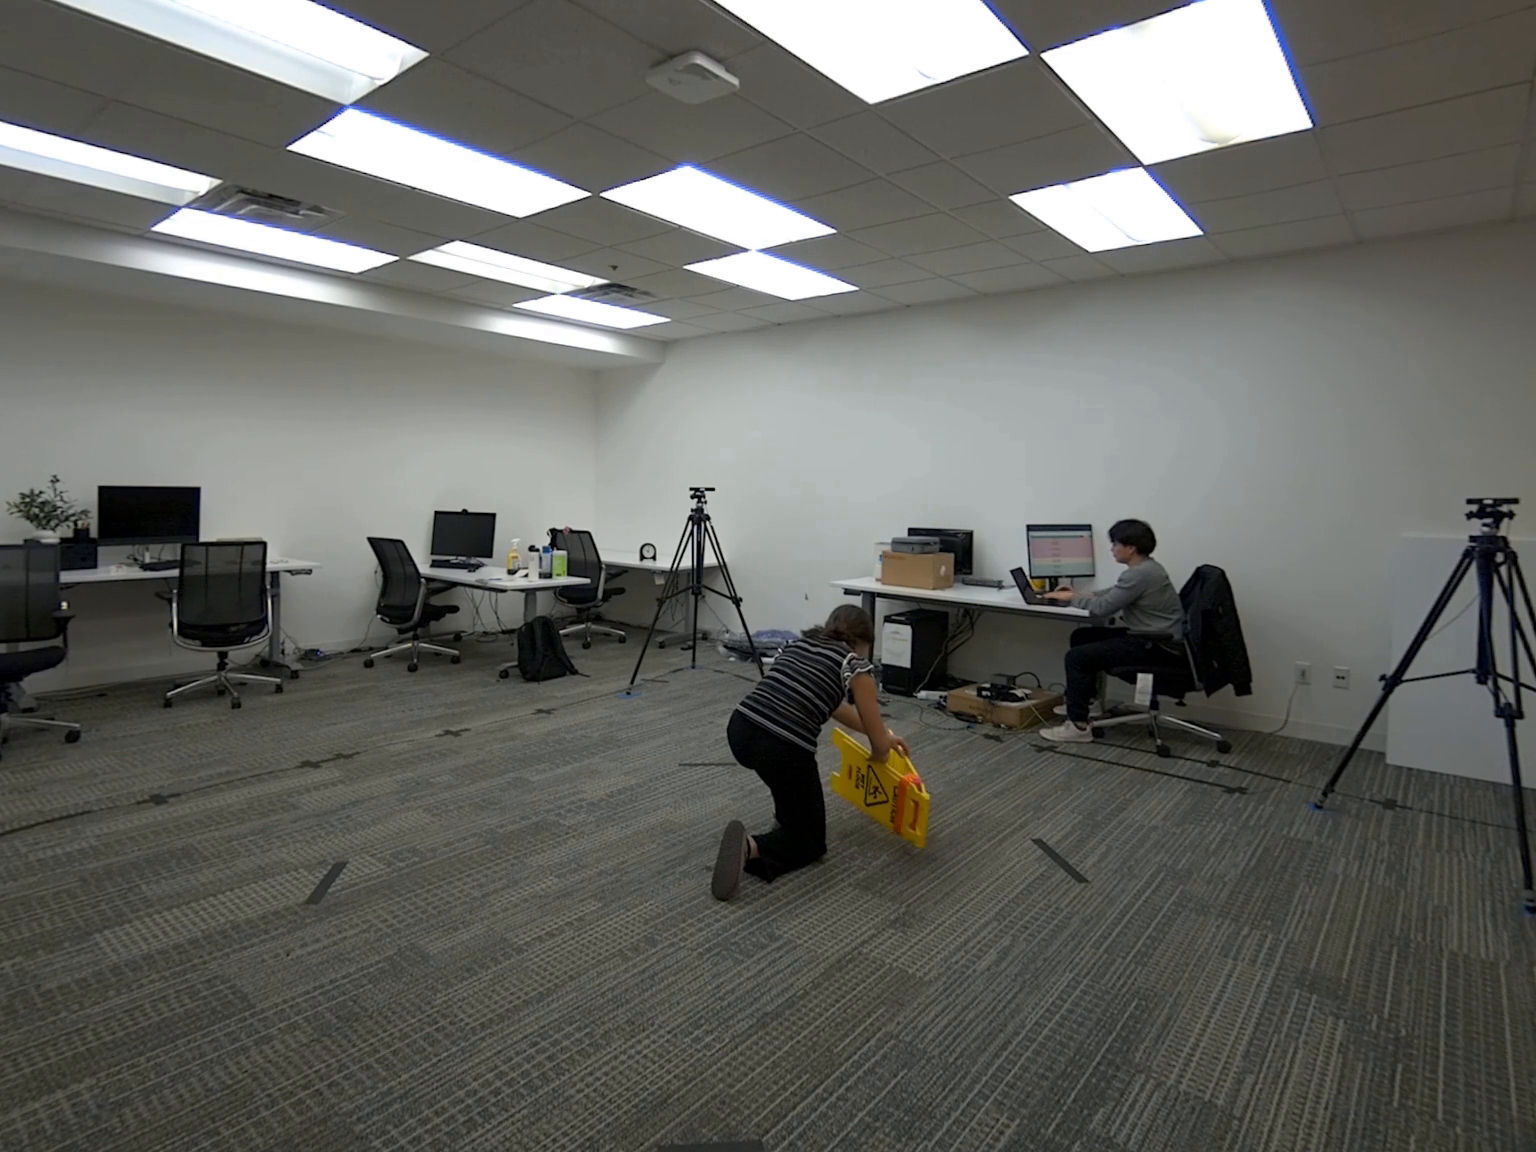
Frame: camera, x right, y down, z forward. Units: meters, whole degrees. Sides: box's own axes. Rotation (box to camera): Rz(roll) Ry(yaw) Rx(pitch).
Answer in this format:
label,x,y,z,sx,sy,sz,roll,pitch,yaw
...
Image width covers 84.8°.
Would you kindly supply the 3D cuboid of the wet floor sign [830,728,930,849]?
label,x,y,z,sx,sy,sz,roll,pitch,yaw
wet floor sign,0.486,0.868,3.466,0.285,0.280,0.660,2,8,-16
